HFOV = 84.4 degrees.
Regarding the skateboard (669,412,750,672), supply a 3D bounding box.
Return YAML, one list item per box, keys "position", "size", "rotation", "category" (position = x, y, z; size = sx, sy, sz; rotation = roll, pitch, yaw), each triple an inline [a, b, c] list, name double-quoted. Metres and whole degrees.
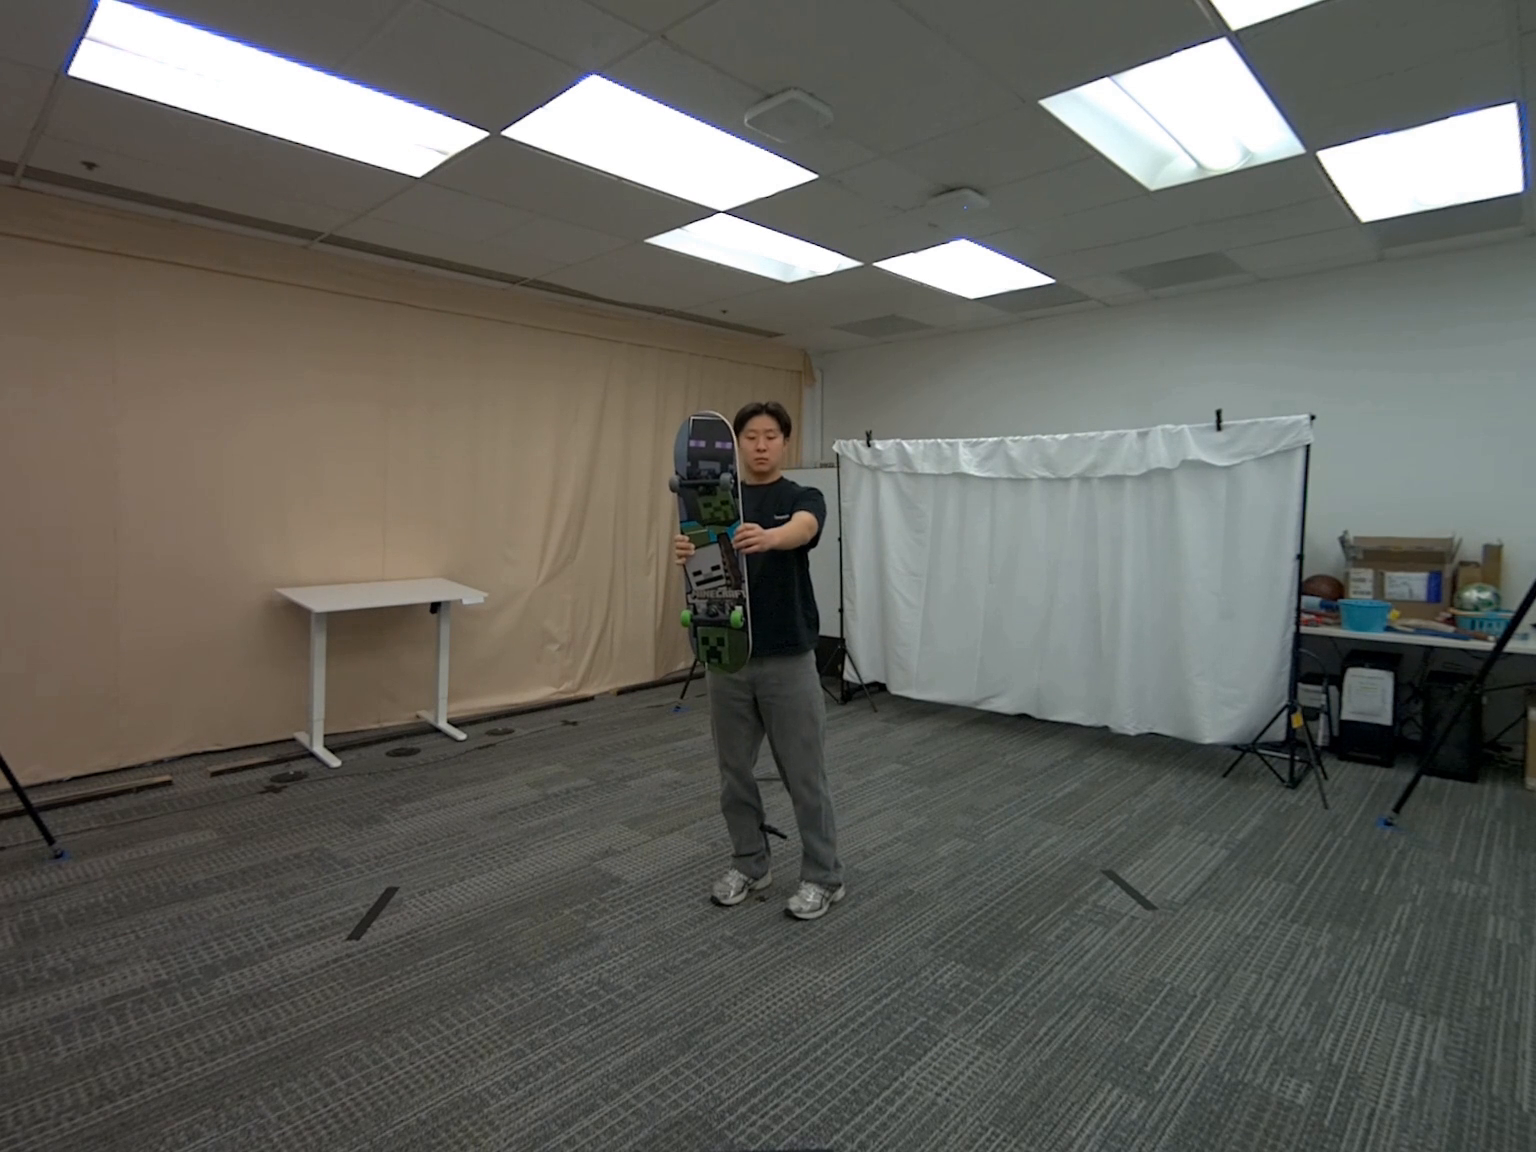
- position: [-0.153, -0.066, 2.441]
  size: [0.197, 0.779, 0.109]
  rotation: [-1, 11, 19]
  category: "skateboard"
